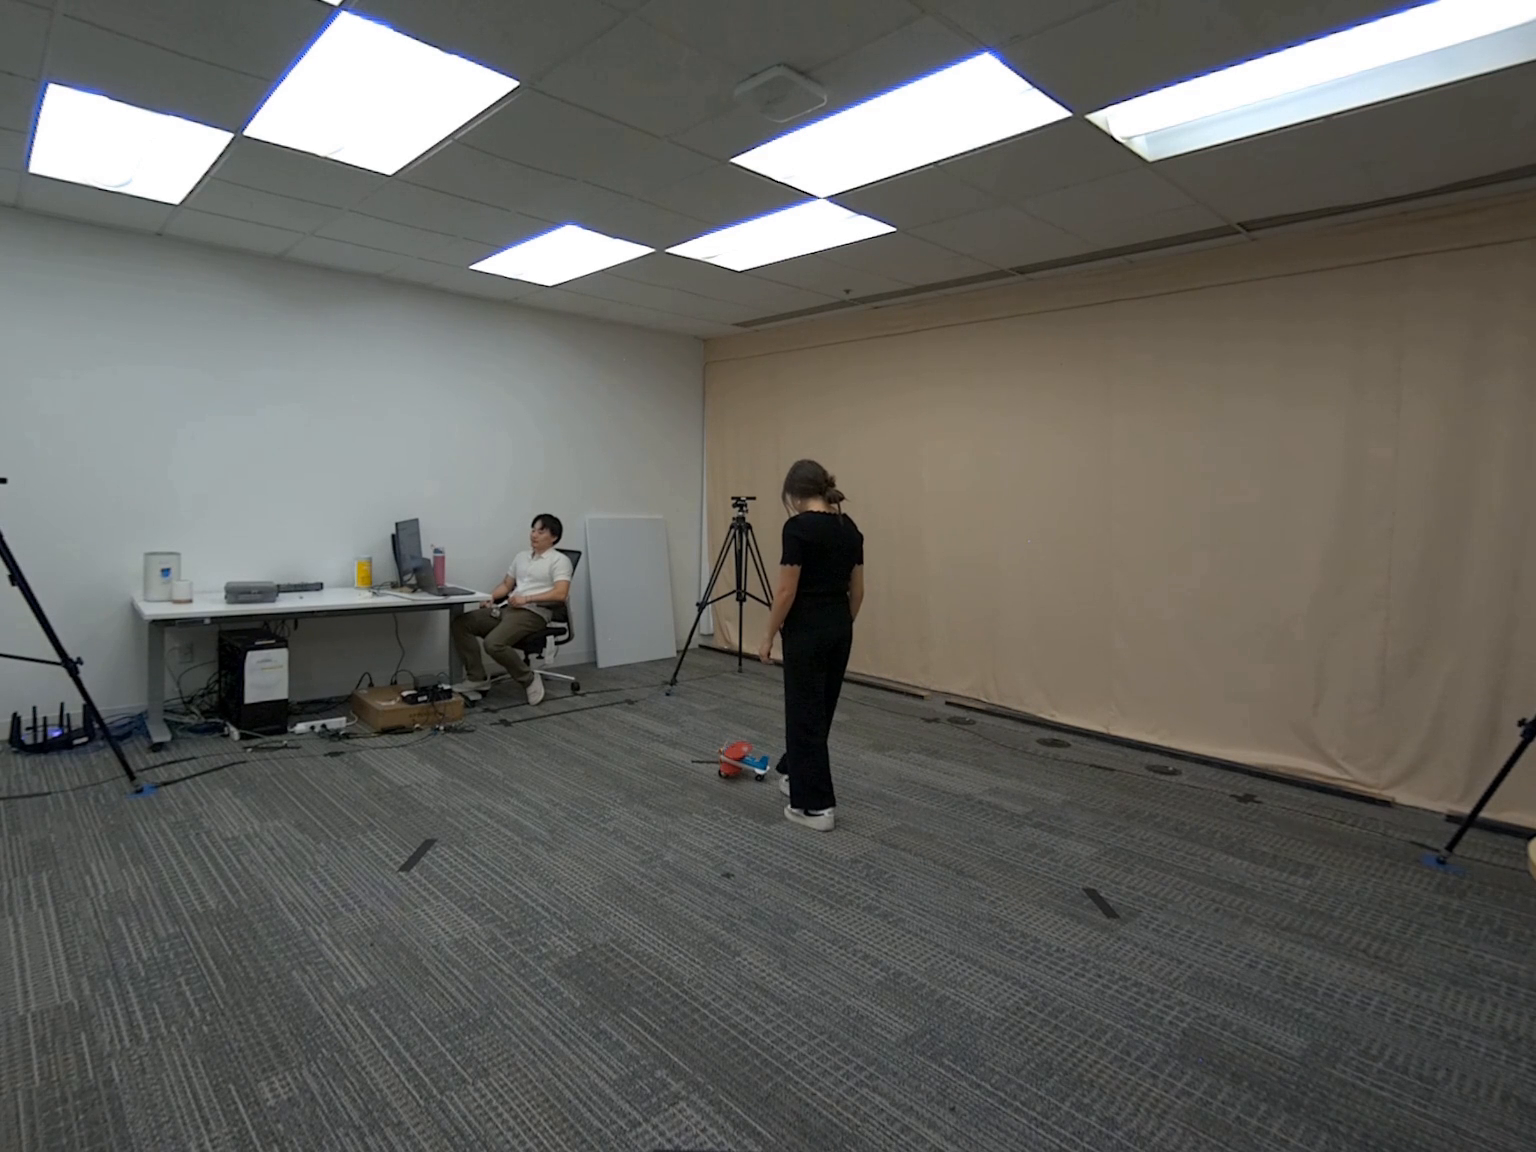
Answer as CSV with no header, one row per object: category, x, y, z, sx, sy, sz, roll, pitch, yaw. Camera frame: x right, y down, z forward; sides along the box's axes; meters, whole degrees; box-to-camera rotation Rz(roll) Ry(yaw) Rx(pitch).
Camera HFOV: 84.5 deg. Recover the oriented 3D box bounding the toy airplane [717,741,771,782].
toy airplane,-0.135,0.934,4.233,0.258,0.156,0.253,0,5,-7
